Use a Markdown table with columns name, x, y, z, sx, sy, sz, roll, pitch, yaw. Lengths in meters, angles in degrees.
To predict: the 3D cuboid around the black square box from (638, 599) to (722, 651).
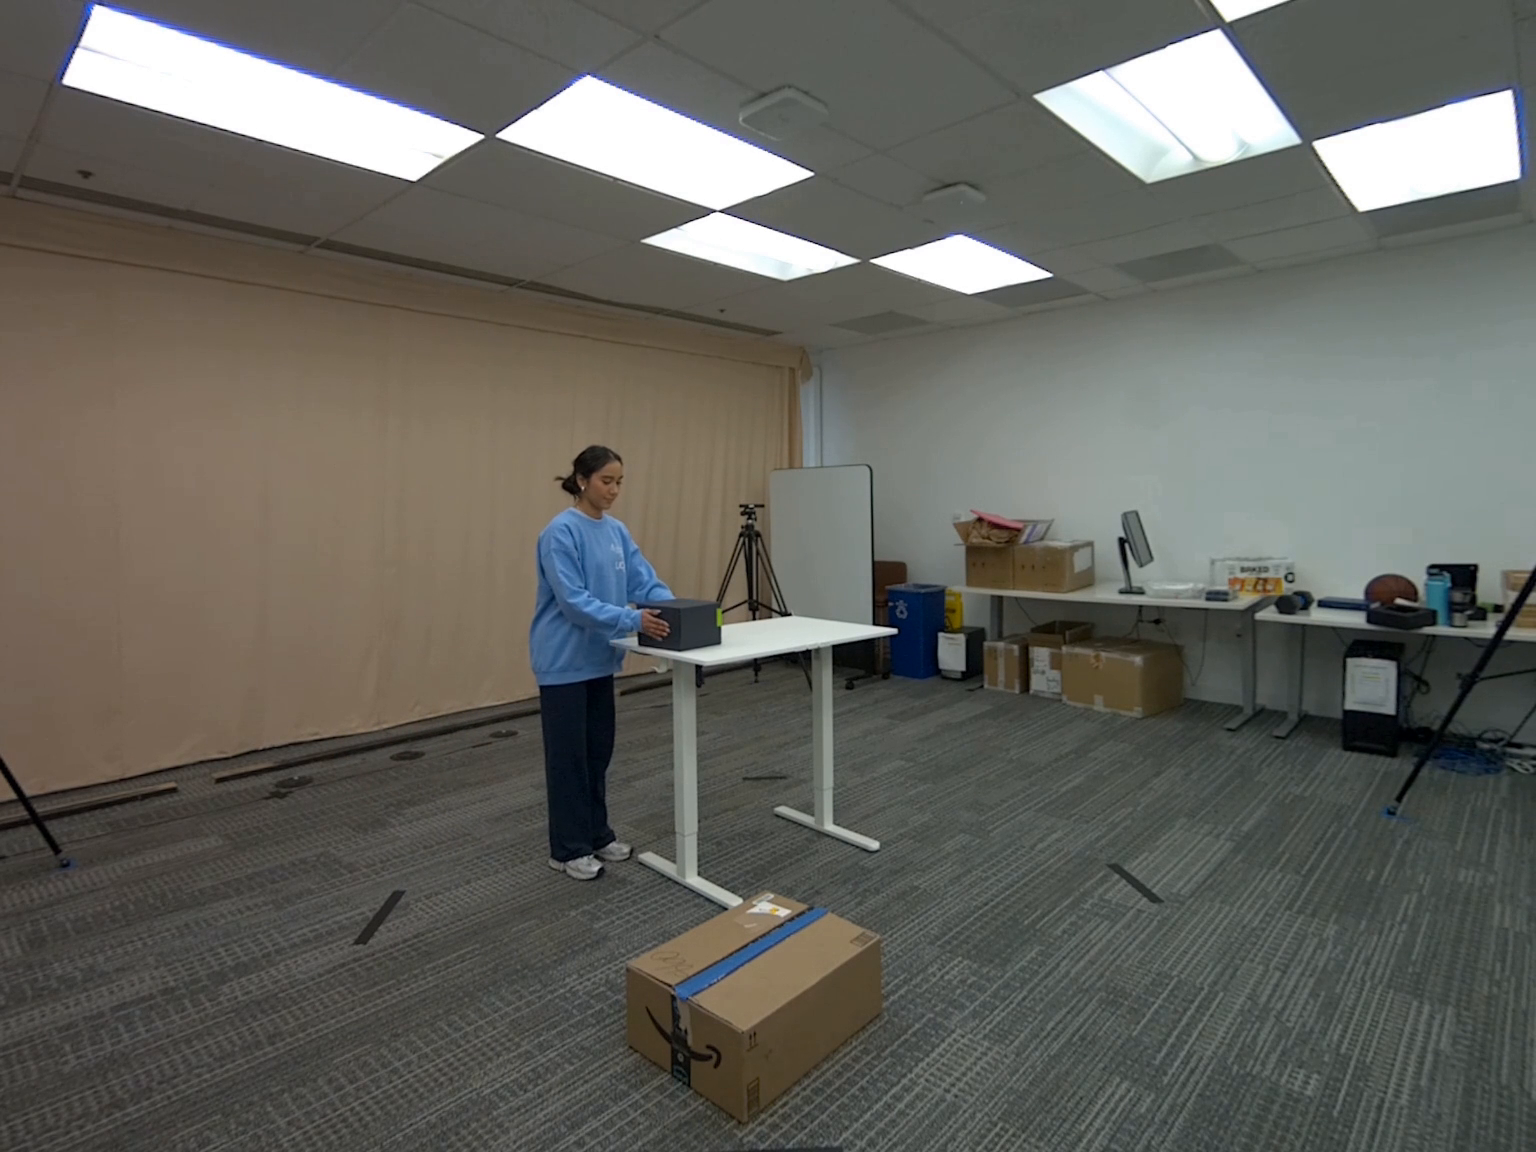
| name | x | y | z | sx | sy | sz | roll | pitch | yaw |
| --- | --- | --- | --- | --- | --- | --- | --- | --- | --- |
| black square box | -0.320 | 0.173 | 3.090 | 0.235 | 0.155 | 0.210 | 2 | 4 | 41 |
